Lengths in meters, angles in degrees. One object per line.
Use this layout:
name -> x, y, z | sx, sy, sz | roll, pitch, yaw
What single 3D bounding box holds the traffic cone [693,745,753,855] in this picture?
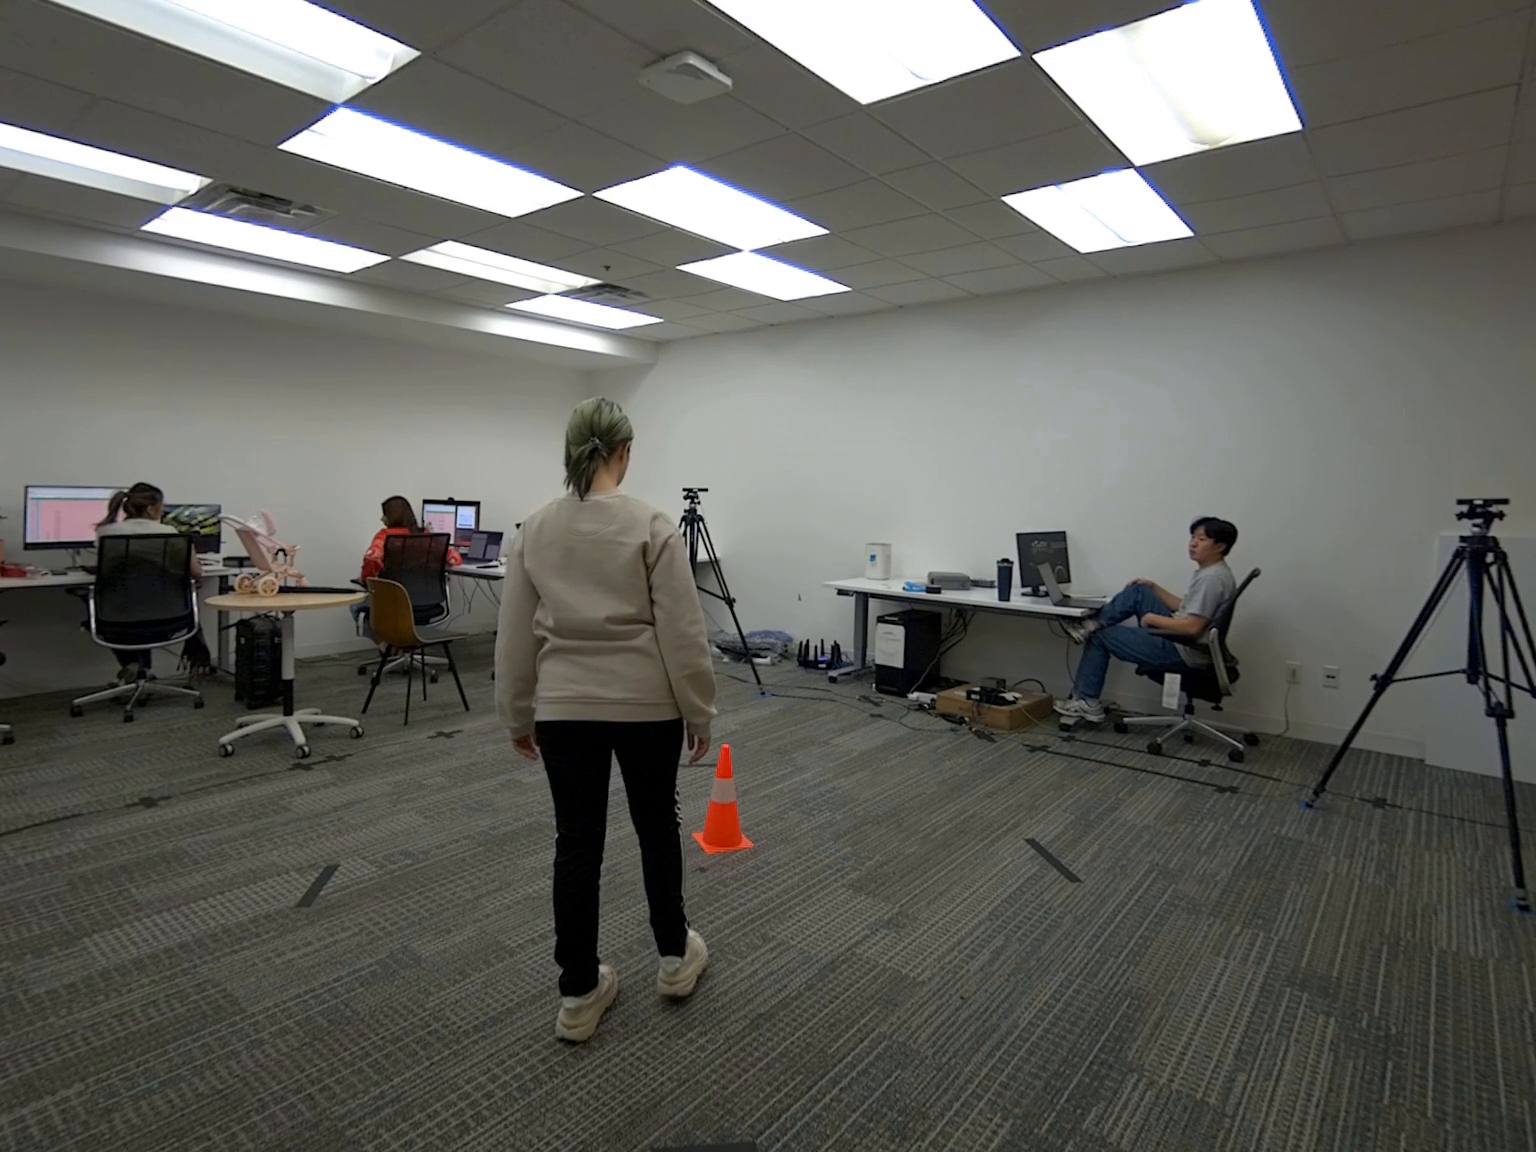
traffic cone -> -0.182, 0.859, 3.369 | 0.199, 0.383, 0.209 | 2, 2, -21
